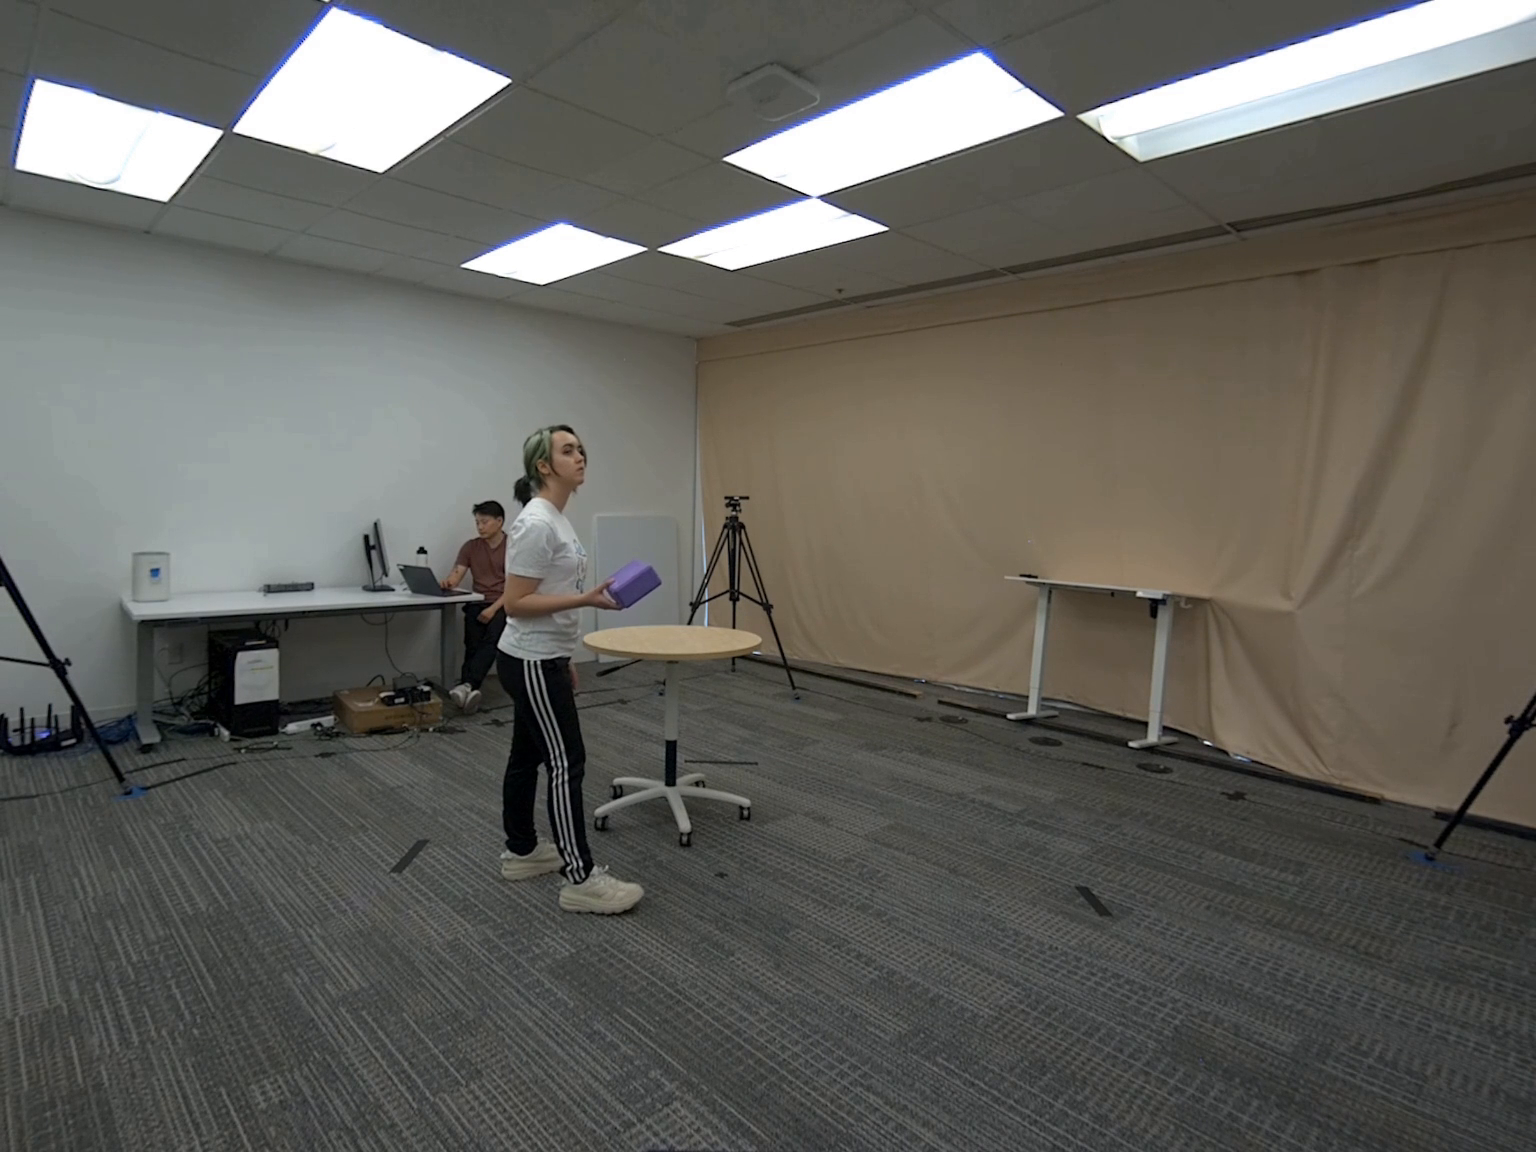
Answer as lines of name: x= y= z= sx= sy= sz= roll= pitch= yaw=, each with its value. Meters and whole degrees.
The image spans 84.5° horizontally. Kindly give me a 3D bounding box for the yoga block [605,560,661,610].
yoga block: x=-0.462 y=0.019 z=2.766 sx=0.148 sy=0.075 sz=0.234 roll=-37 pitch=18 yaw=-13
